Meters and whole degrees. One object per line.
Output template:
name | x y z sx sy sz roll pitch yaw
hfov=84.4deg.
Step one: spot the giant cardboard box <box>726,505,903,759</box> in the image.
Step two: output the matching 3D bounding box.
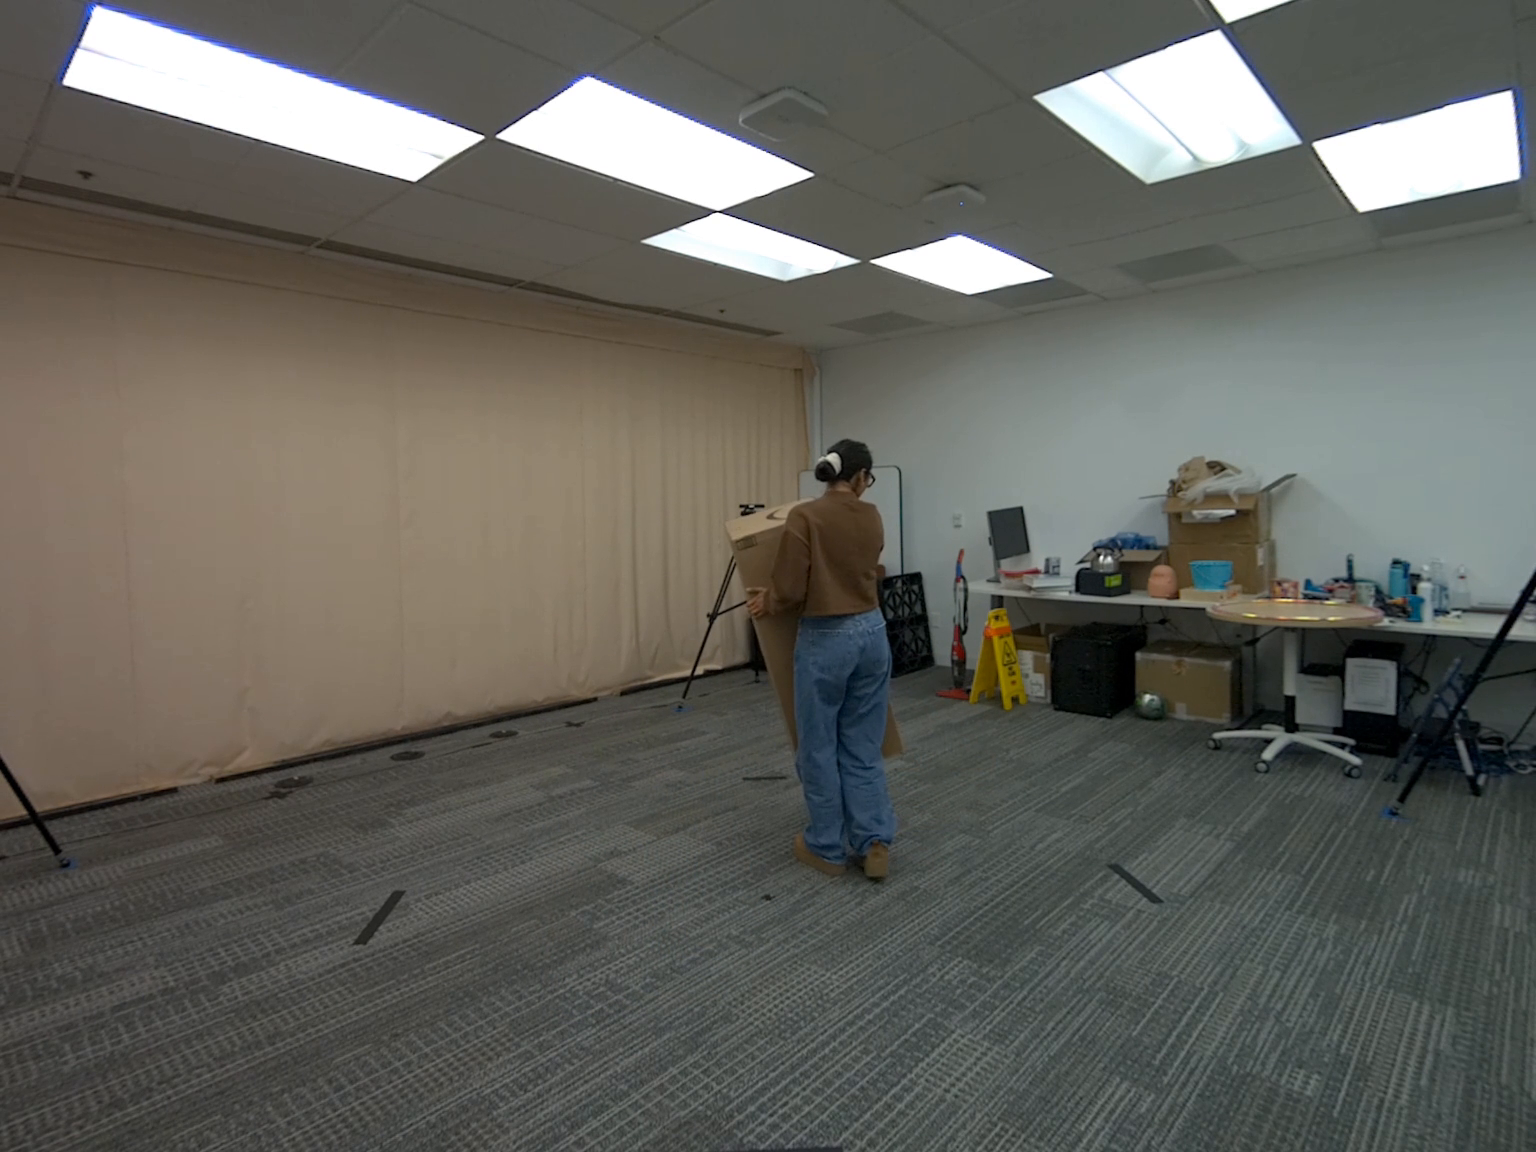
giant cardboard box | 0.182 0.238 3.576 0.426 1.018 0.582 -17 8 -2
